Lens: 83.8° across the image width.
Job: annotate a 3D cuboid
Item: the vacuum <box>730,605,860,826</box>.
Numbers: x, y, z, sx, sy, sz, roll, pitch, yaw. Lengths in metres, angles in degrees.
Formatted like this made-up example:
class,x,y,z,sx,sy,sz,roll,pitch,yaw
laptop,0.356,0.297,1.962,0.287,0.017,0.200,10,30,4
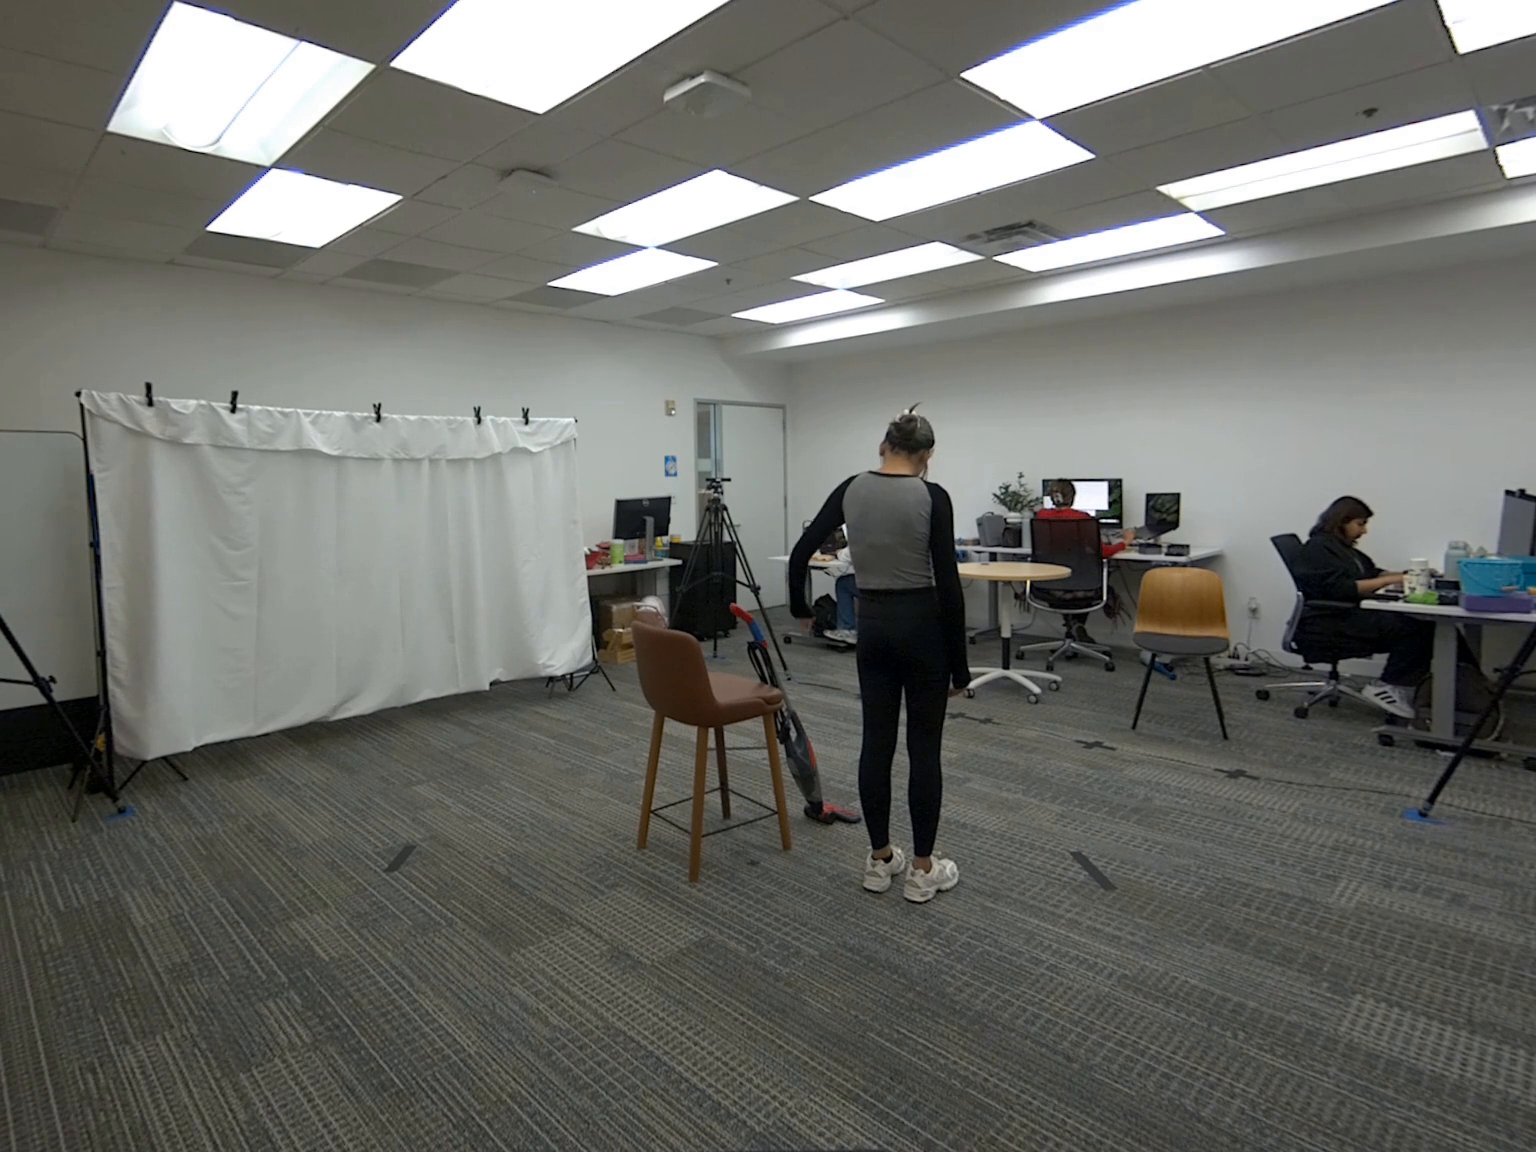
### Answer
class,x,y,z,sx,sy,sz,roll,pitch,yaw
vacuum,0.067,0.548,3.335,0.260,1.023,0.143,3,33,45
